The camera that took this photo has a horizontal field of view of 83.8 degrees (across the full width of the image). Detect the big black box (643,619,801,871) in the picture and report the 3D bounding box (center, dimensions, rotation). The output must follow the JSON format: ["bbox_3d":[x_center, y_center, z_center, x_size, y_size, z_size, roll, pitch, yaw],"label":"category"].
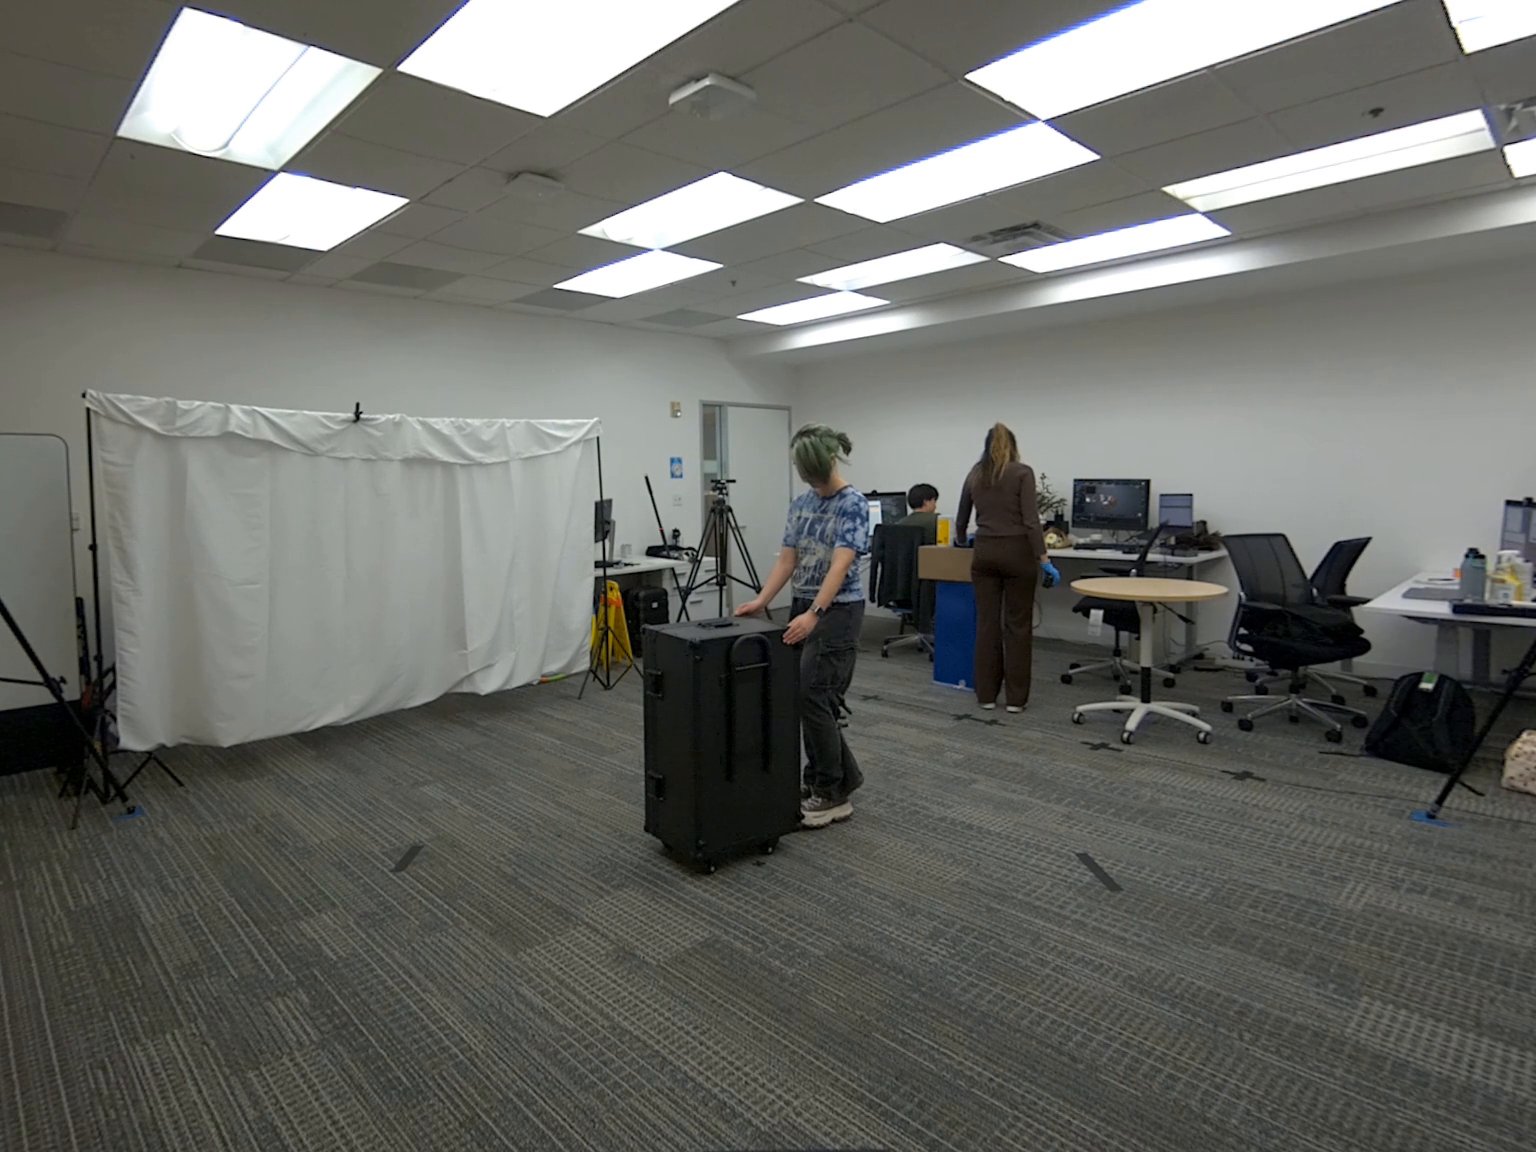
[{"bbox_3d":[-0.165,0.614,3.206,0.508,0.858,0.408,-3,6,-36],"label":"big black box"}]
